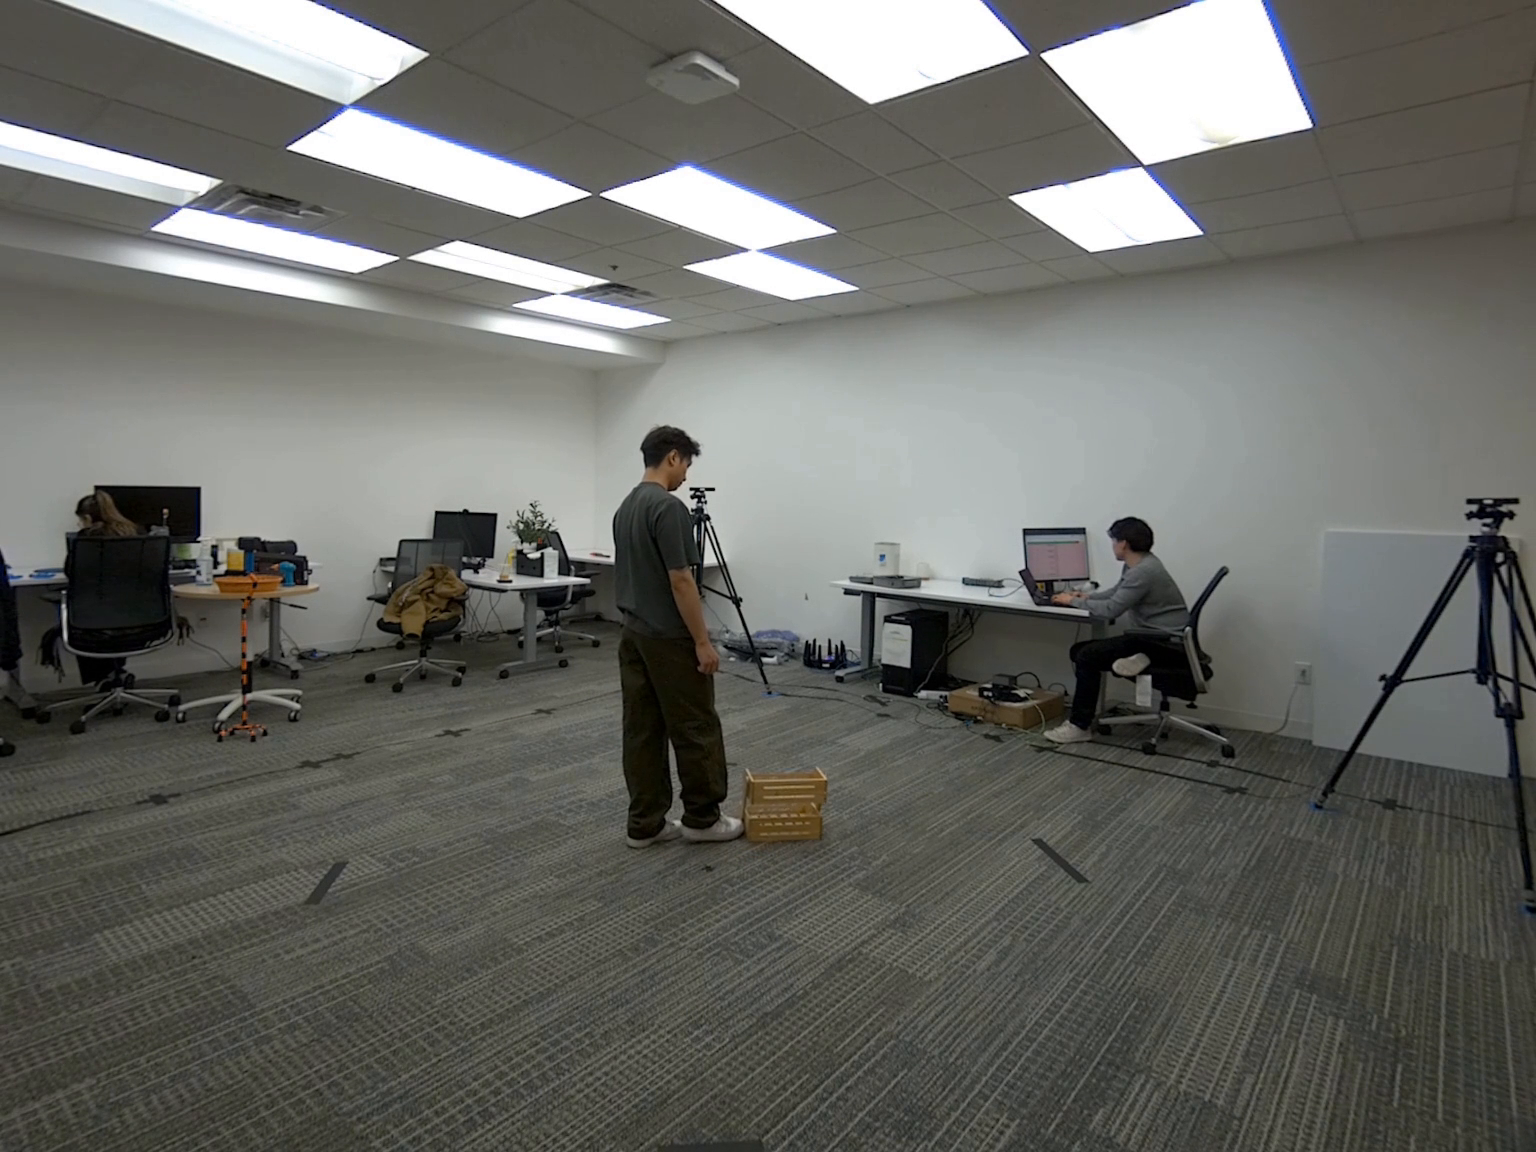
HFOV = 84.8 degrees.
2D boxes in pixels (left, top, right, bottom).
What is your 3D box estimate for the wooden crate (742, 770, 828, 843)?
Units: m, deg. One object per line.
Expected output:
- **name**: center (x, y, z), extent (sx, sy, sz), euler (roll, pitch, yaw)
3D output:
- **wooden crate**: center (0.041, 0.905, 3.473), extent (0.321, 0.272, 0.306), euler (0, 4, -10)
